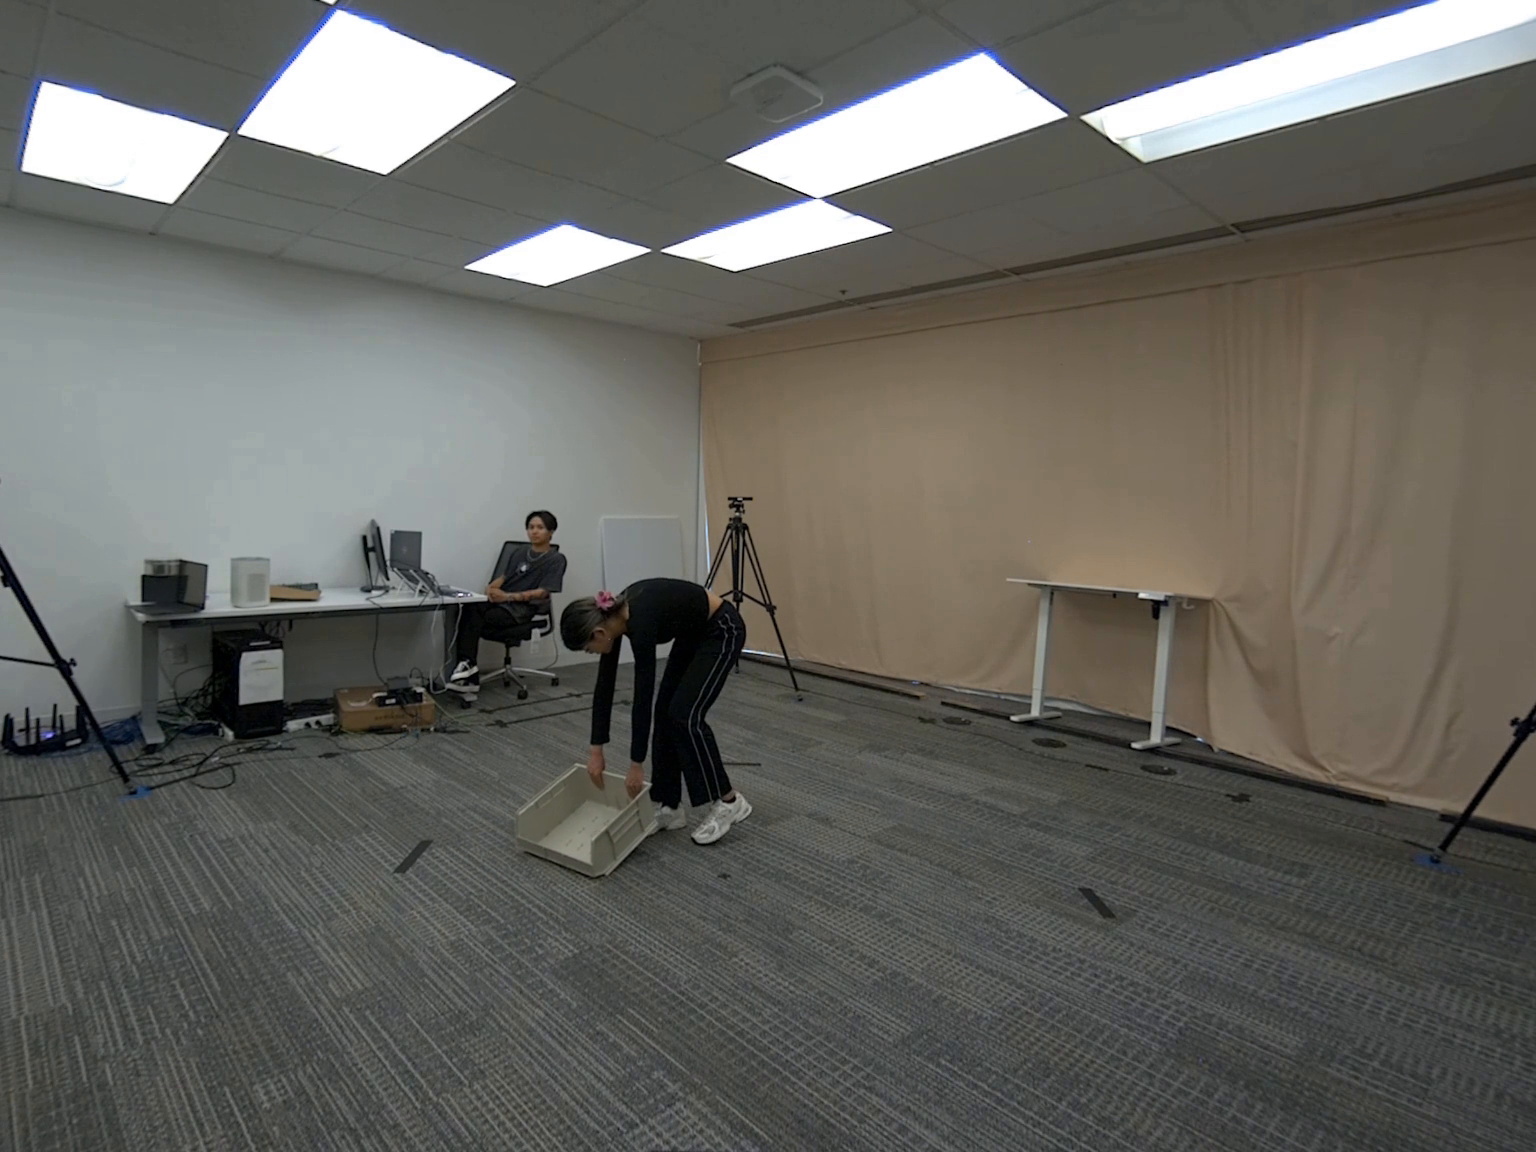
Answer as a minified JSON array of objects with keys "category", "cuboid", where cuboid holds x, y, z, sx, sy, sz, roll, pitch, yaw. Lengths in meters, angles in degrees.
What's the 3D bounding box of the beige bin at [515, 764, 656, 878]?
[{"category":"beige bin","cuboid":[-0.717,0.953,3.262,0.432,0.186,0.374,2,23,33]}]
